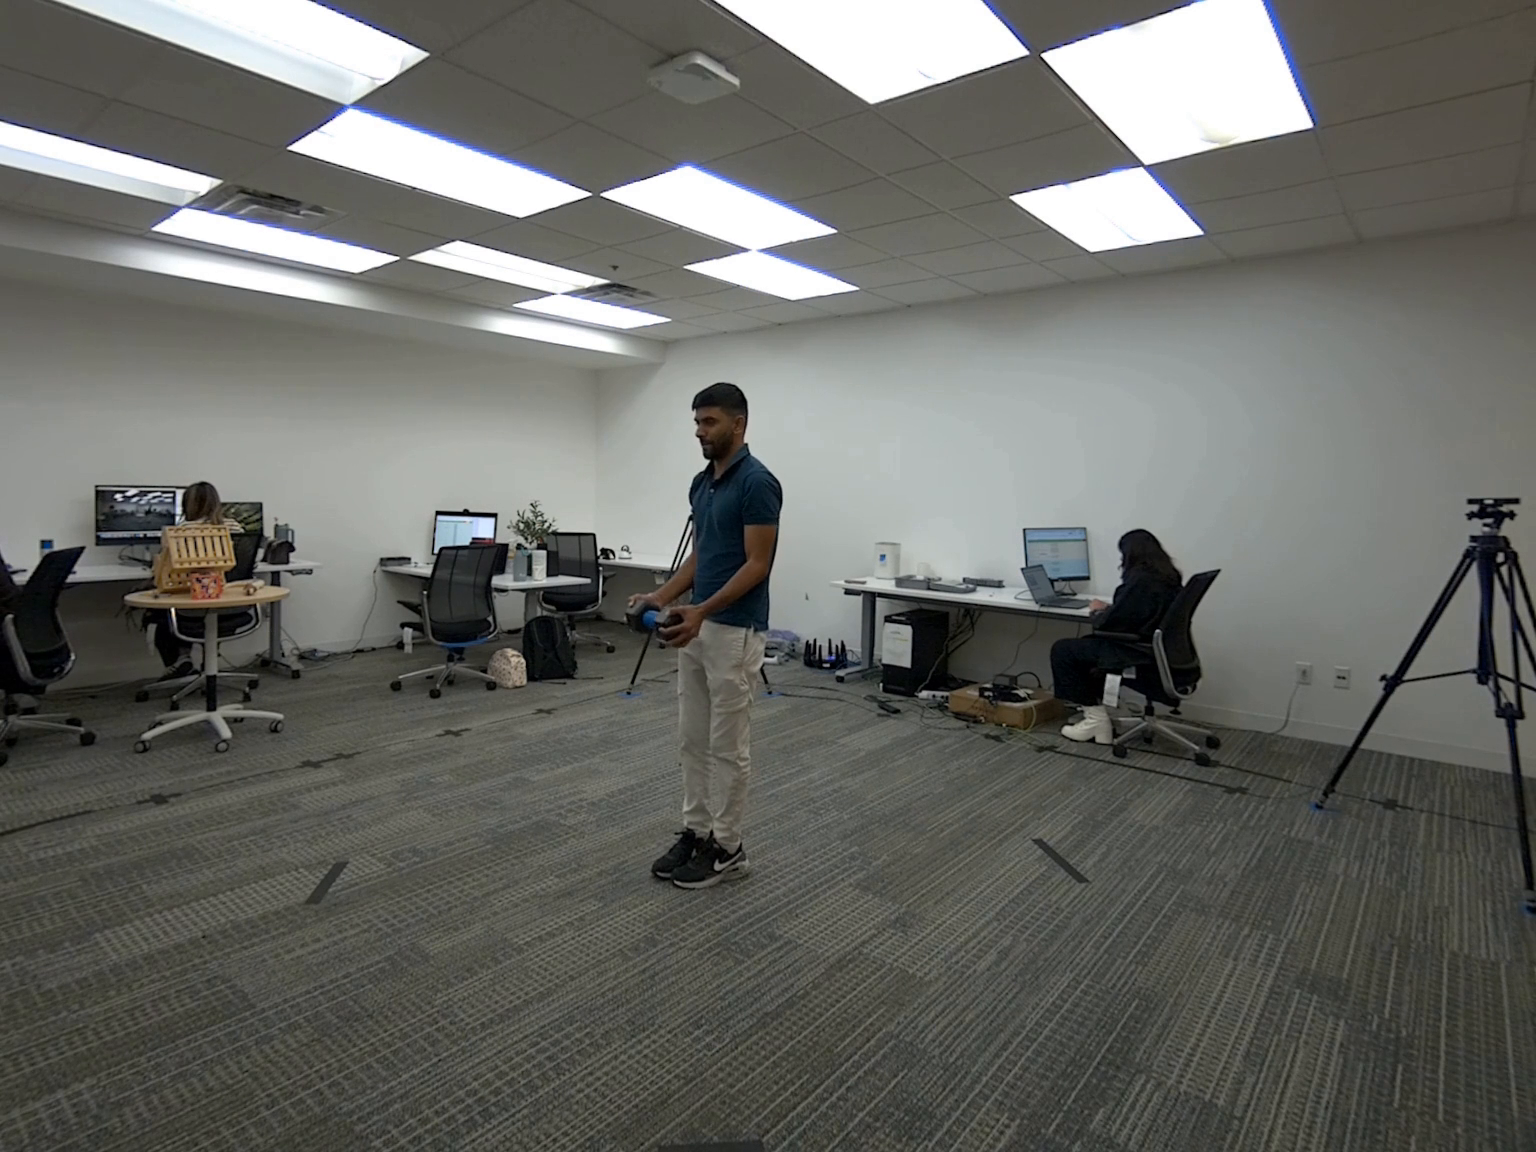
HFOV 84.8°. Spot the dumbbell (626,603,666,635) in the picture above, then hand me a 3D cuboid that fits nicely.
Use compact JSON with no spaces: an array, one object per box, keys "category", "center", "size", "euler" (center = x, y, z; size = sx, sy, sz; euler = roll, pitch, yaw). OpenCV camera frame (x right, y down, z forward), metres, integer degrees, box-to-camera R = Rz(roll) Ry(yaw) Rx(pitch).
[{"category":"dumbbell","center":[-0.376,0.142,2.898],"size":[0.107,0.121,0.303],"euler":[-19,16,-29]}]
